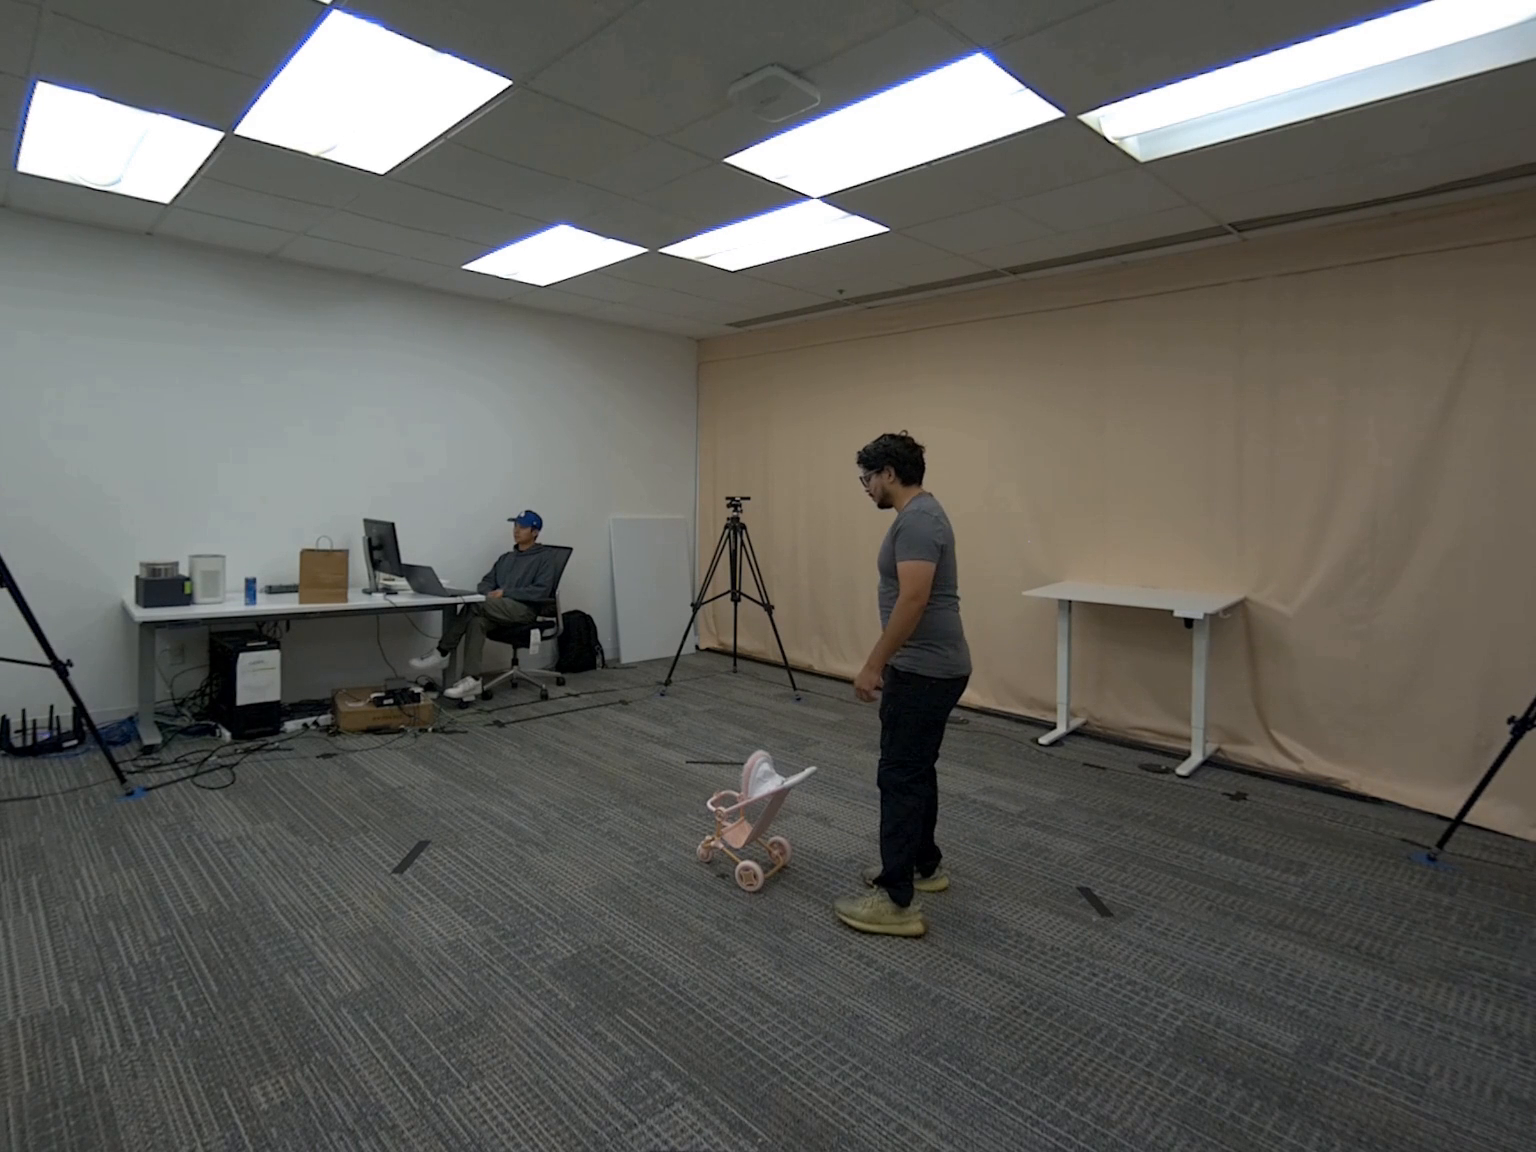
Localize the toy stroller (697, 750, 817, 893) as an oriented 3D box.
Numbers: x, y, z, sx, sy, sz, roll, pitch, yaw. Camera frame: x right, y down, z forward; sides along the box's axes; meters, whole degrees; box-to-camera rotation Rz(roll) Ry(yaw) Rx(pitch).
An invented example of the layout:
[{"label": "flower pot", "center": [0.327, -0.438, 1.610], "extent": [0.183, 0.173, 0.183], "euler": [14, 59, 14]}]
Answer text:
[{"label": "toy stroller", "center": [-0.067, 0.881, 3.116], "extent": [0.350, 0.532, 0.276], "euler": [23, 14, 29]}]
